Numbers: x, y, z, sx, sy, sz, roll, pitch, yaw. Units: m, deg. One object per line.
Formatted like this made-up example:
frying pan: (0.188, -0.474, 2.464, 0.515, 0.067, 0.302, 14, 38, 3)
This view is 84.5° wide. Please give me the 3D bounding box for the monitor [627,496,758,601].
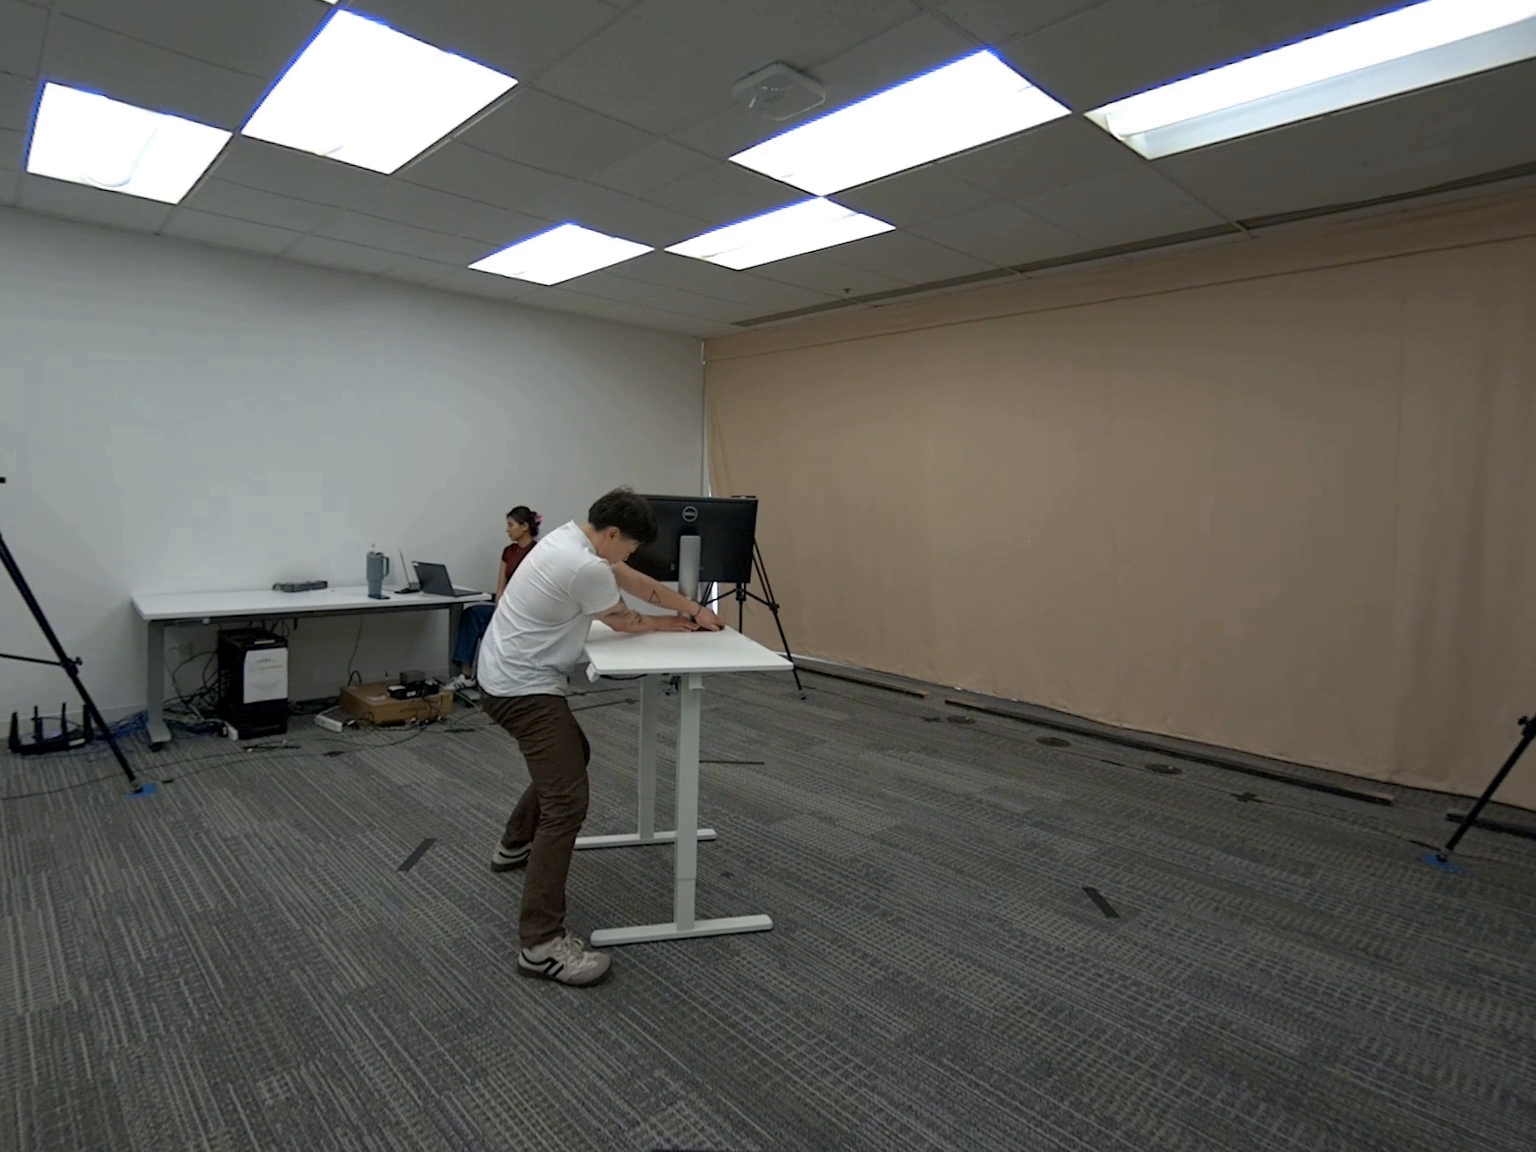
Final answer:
monitor: (-0.316, -0.051, 3.262, 0.534, 0.520, 0.190, 1, 6, -12)
